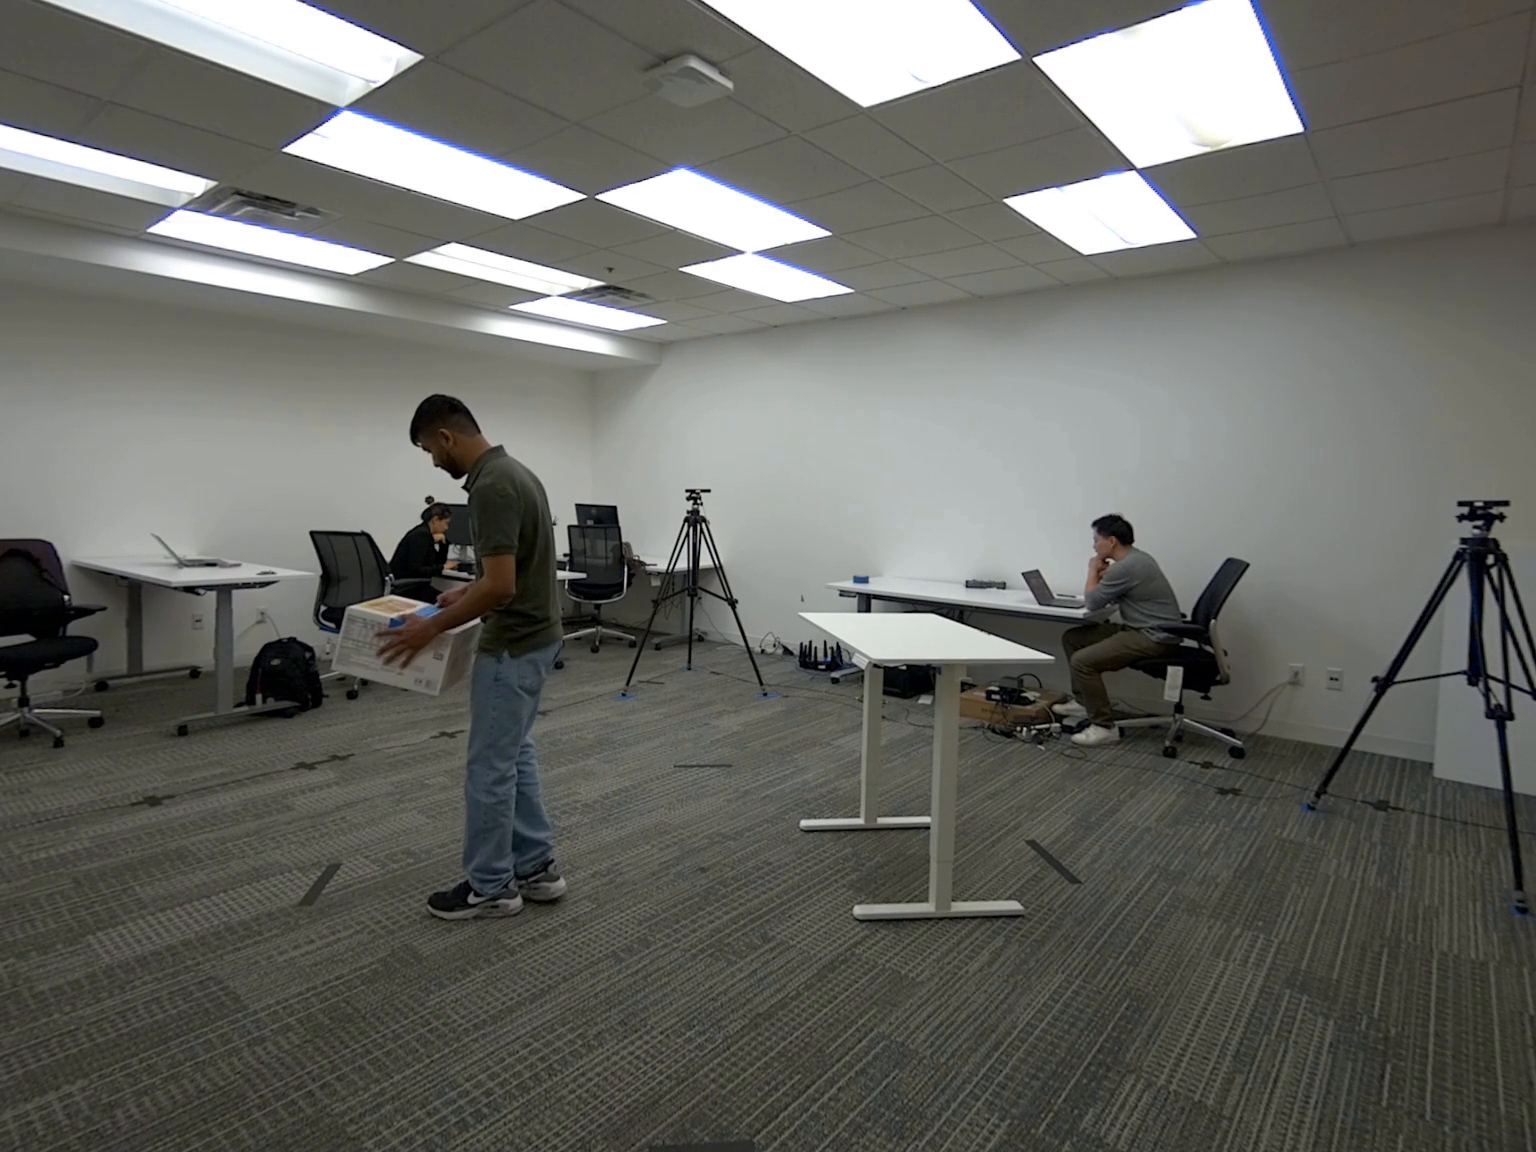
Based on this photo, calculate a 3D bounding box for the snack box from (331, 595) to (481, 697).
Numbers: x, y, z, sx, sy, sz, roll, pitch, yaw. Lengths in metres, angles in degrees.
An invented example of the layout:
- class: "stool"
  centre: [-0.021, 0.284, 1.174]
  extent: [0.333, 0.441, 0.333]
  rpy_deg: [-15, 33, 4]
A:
- class: "snack box"
  centre: [-1.173, 0.222, 2.798]
  extent: [0.339, 0.205, 0.408]
  rpy_deg: [14, 3, -5]
